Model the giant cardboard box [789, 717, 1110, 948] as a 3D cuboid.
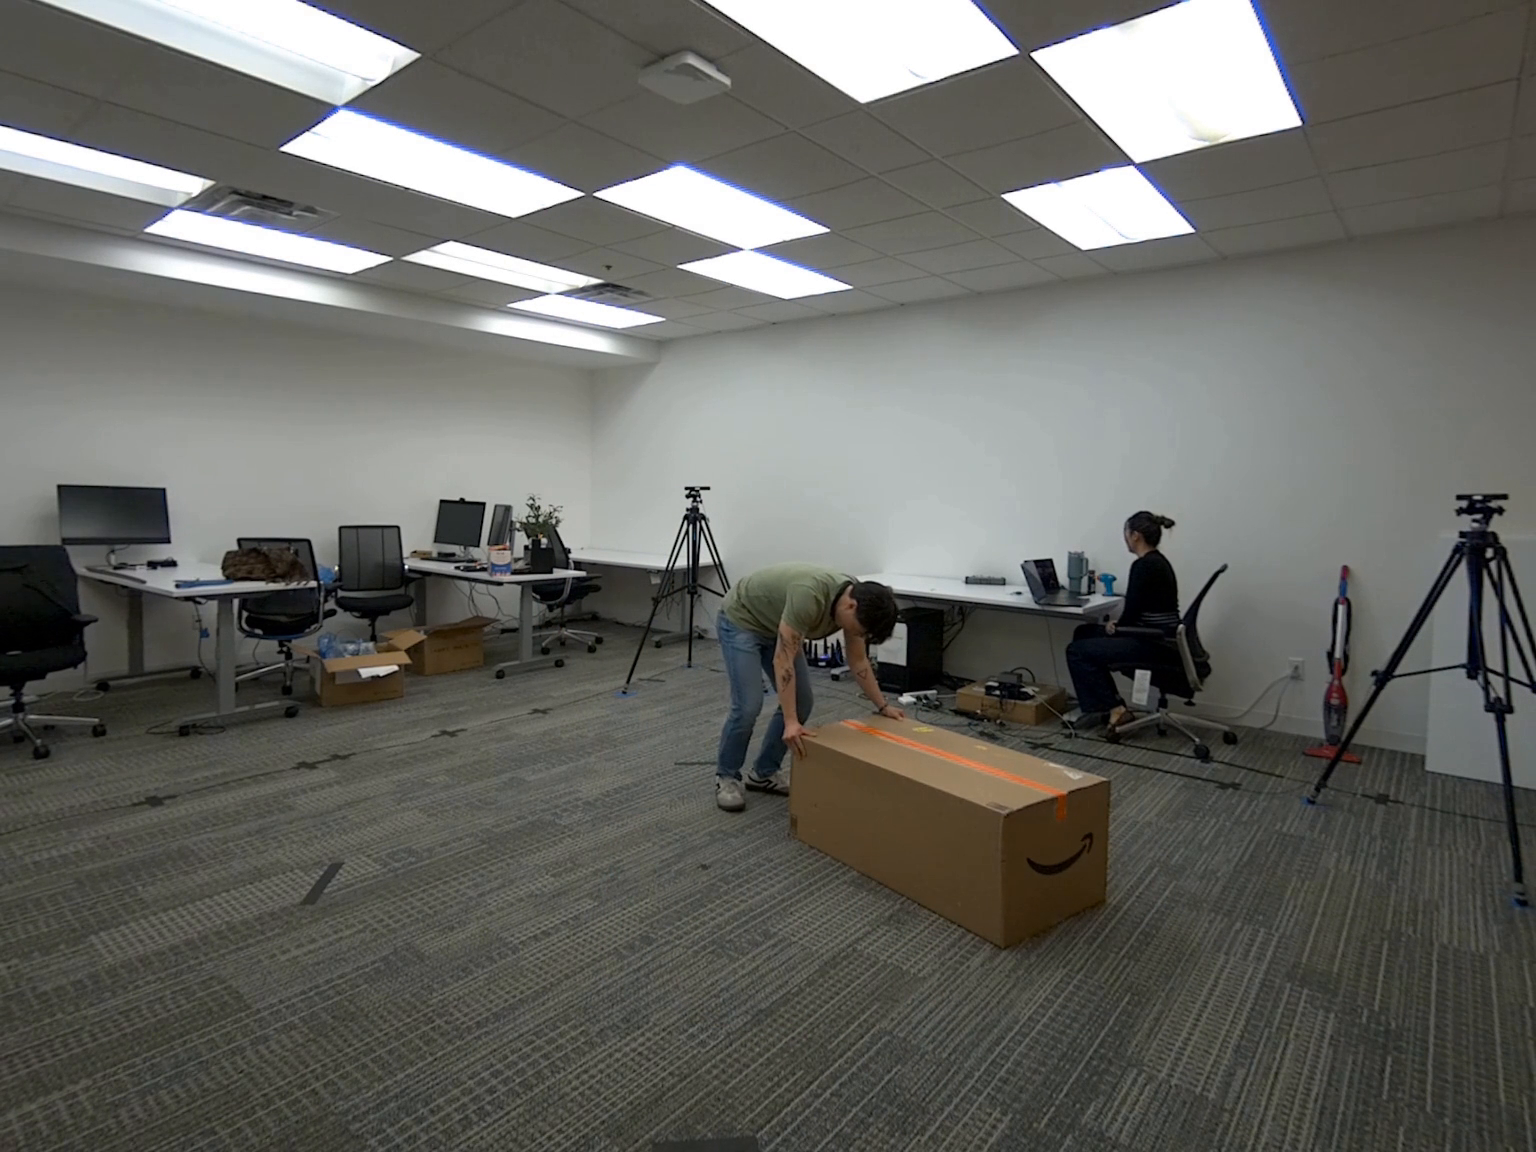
[{"bbox_3d":[0.619,0.861,3.157,0.560,0.425,1.060,-2,6,-37],"label":"giant cardboard box"}]
